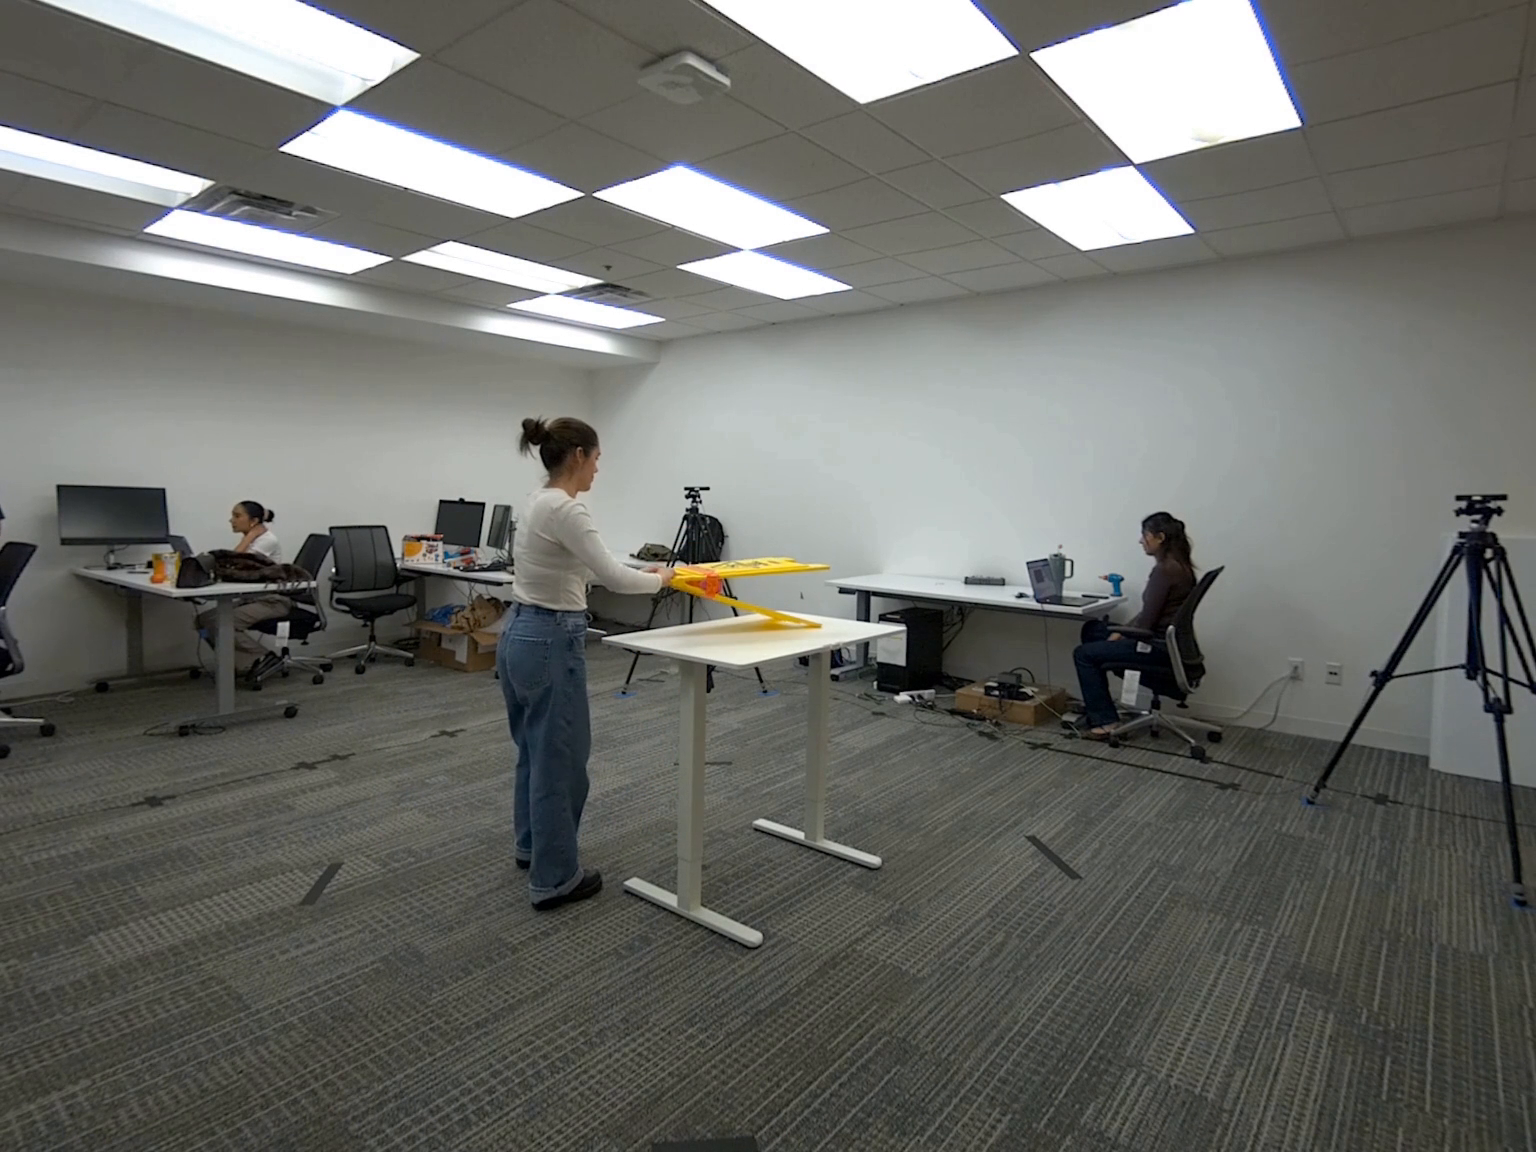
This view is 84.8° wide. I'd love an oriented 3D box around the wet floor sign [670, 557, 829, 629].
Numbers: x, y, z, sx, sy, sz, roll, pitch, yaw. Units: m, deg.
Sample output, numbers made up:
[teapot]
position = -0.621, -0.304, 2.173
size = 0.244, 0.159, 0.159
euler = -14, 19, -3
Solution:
[wet floor sign]
position = -0.126, 0.033, 3.090
size = 0.625, 0.289, 0.291
euler = 6, 2, -34
